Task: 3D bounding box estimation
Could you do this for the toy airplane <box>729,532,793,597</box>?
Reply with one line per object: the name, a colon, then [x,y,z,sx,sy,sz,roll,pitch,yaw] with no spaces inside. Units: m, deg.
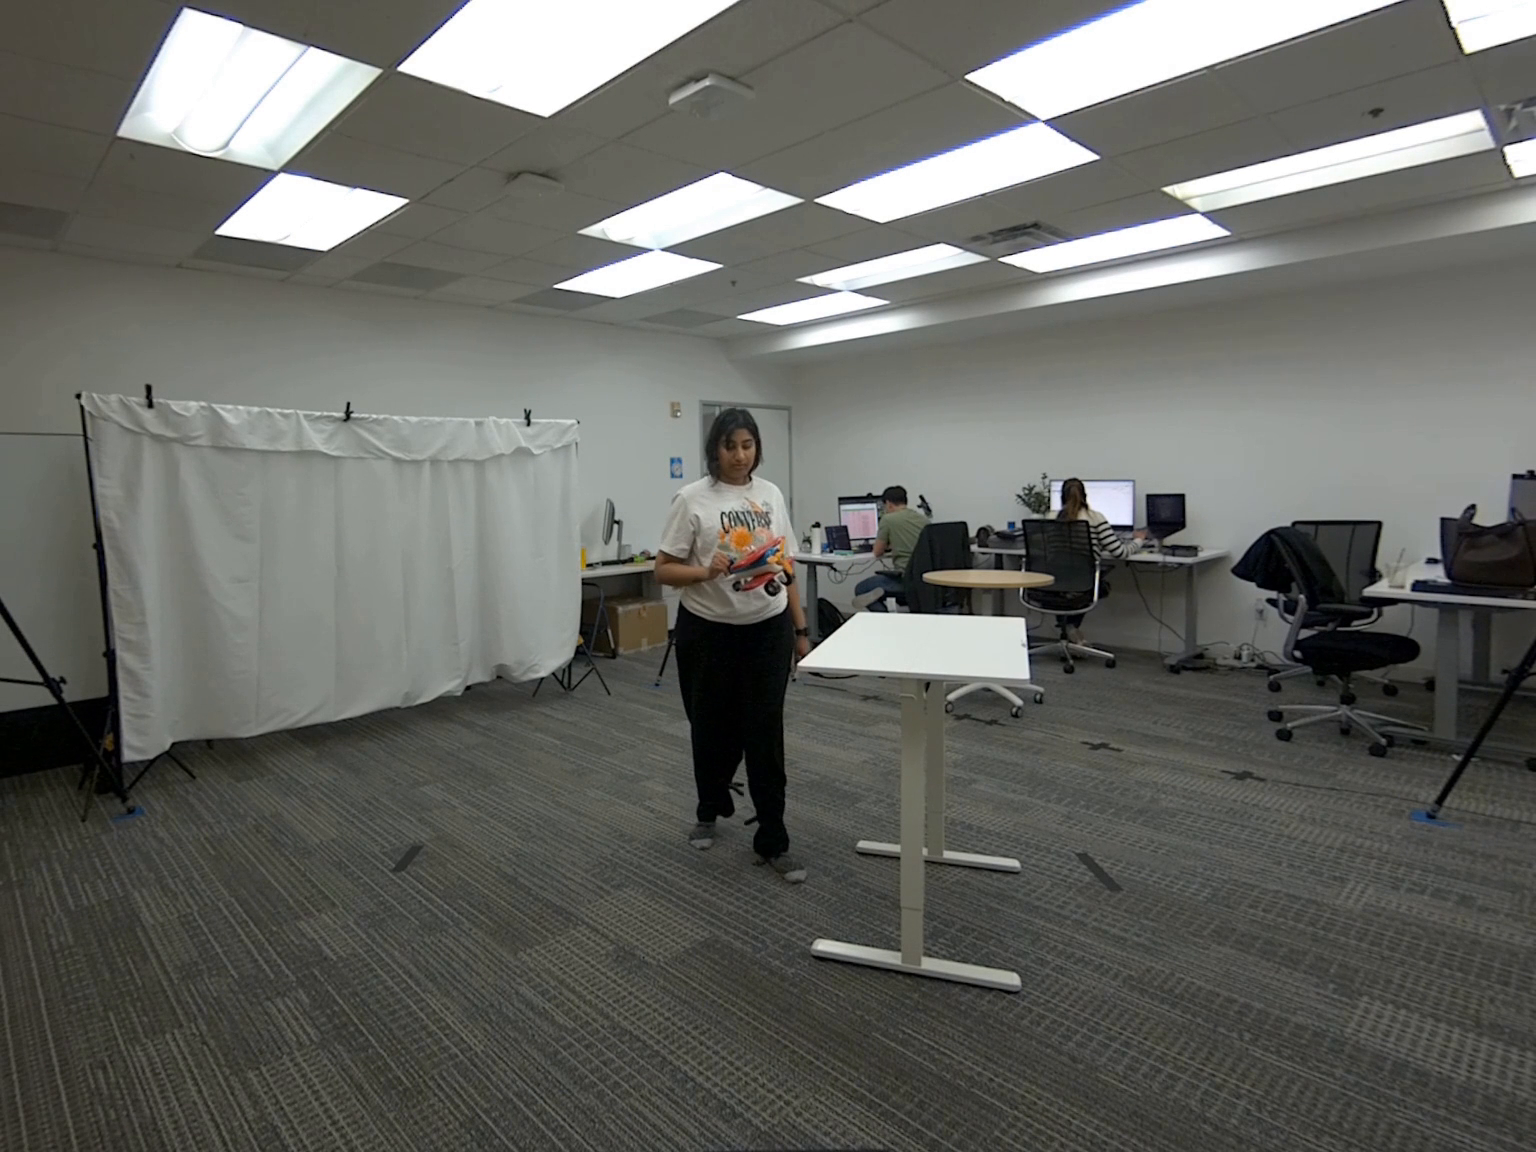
toy airplane: [-0.045,-0.018,2.853,0.262,0.153,0.253,-11,19,14]
